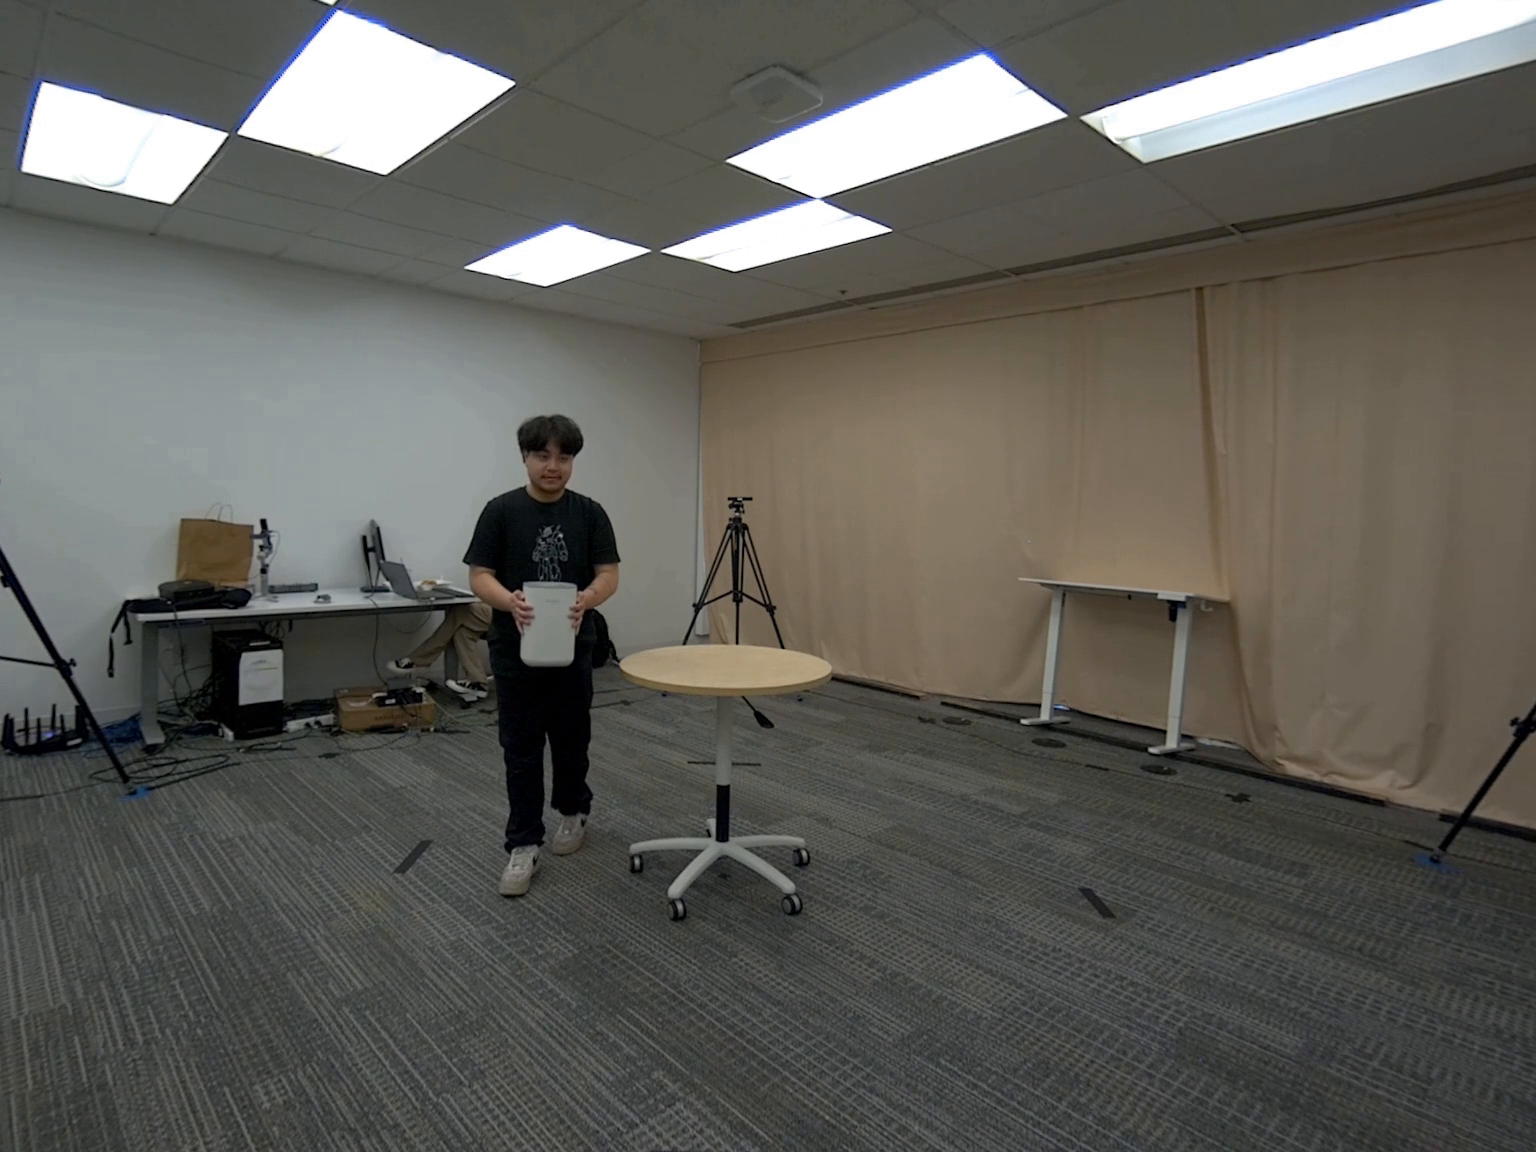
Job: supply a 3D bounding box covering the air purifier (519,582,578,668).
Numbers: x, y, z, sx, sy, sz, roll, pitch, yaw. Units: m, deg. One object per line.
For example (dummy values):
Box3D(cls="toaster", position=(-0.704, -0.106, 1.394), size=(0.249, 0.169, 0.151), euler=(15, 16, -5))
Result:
Box3D(cls="air purifier", position=(-0.753, 0.161, 2.798), size=(0.169, 0.265, 0.174), euler=(1, 3, -18))
